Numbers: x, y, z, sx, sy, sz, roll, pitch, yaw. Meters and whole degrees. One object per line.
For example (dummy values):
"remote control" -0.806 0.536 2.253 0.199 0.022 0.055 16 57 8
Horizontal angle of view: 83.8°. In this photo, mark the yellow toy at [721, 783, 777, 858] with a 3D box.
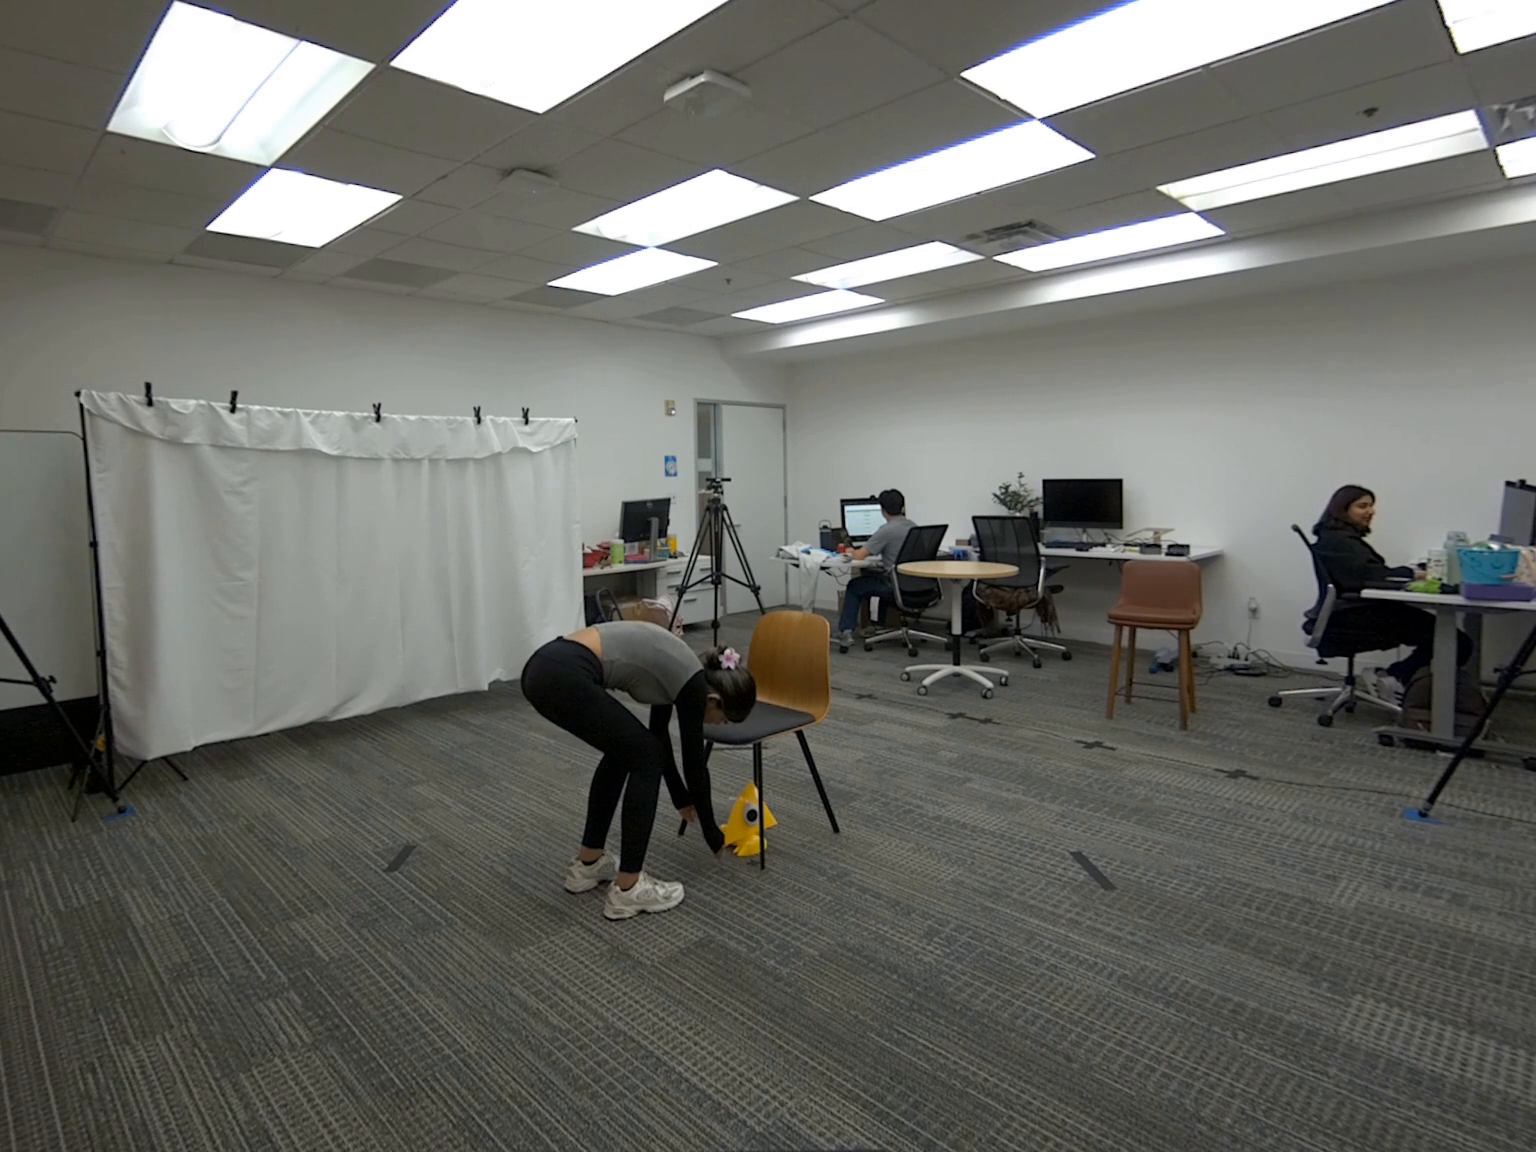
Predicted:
"yellow toy" -0.101 0.914 3.257 0.211 0.230 0.188 5 6 41
